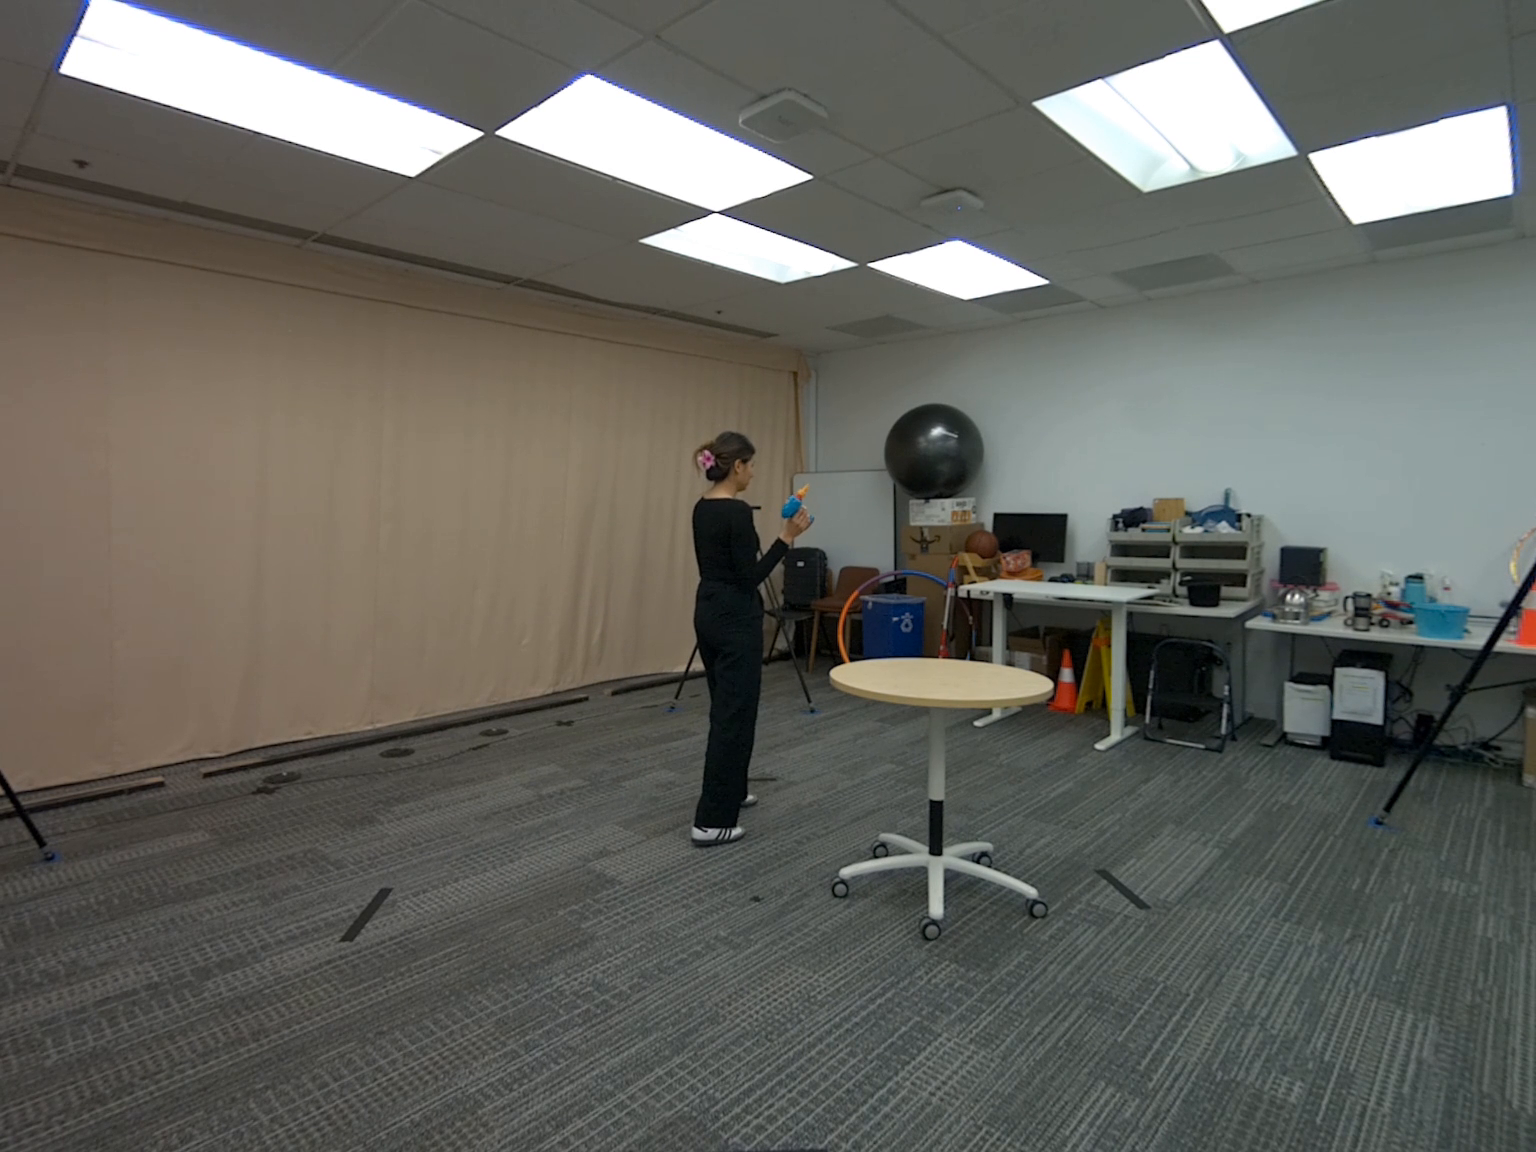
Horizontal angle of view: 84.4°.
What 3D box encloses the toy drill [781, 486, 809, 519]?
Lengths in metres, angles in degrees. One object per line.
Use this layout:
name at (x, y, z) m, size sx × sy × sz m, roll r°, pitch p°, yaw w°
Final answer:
toy drill at (0.147, -0.286, 3.471) m, size 0.142 × 0.170 × 0.063 m, roll 36°, pitch 0°, yaw -23°
